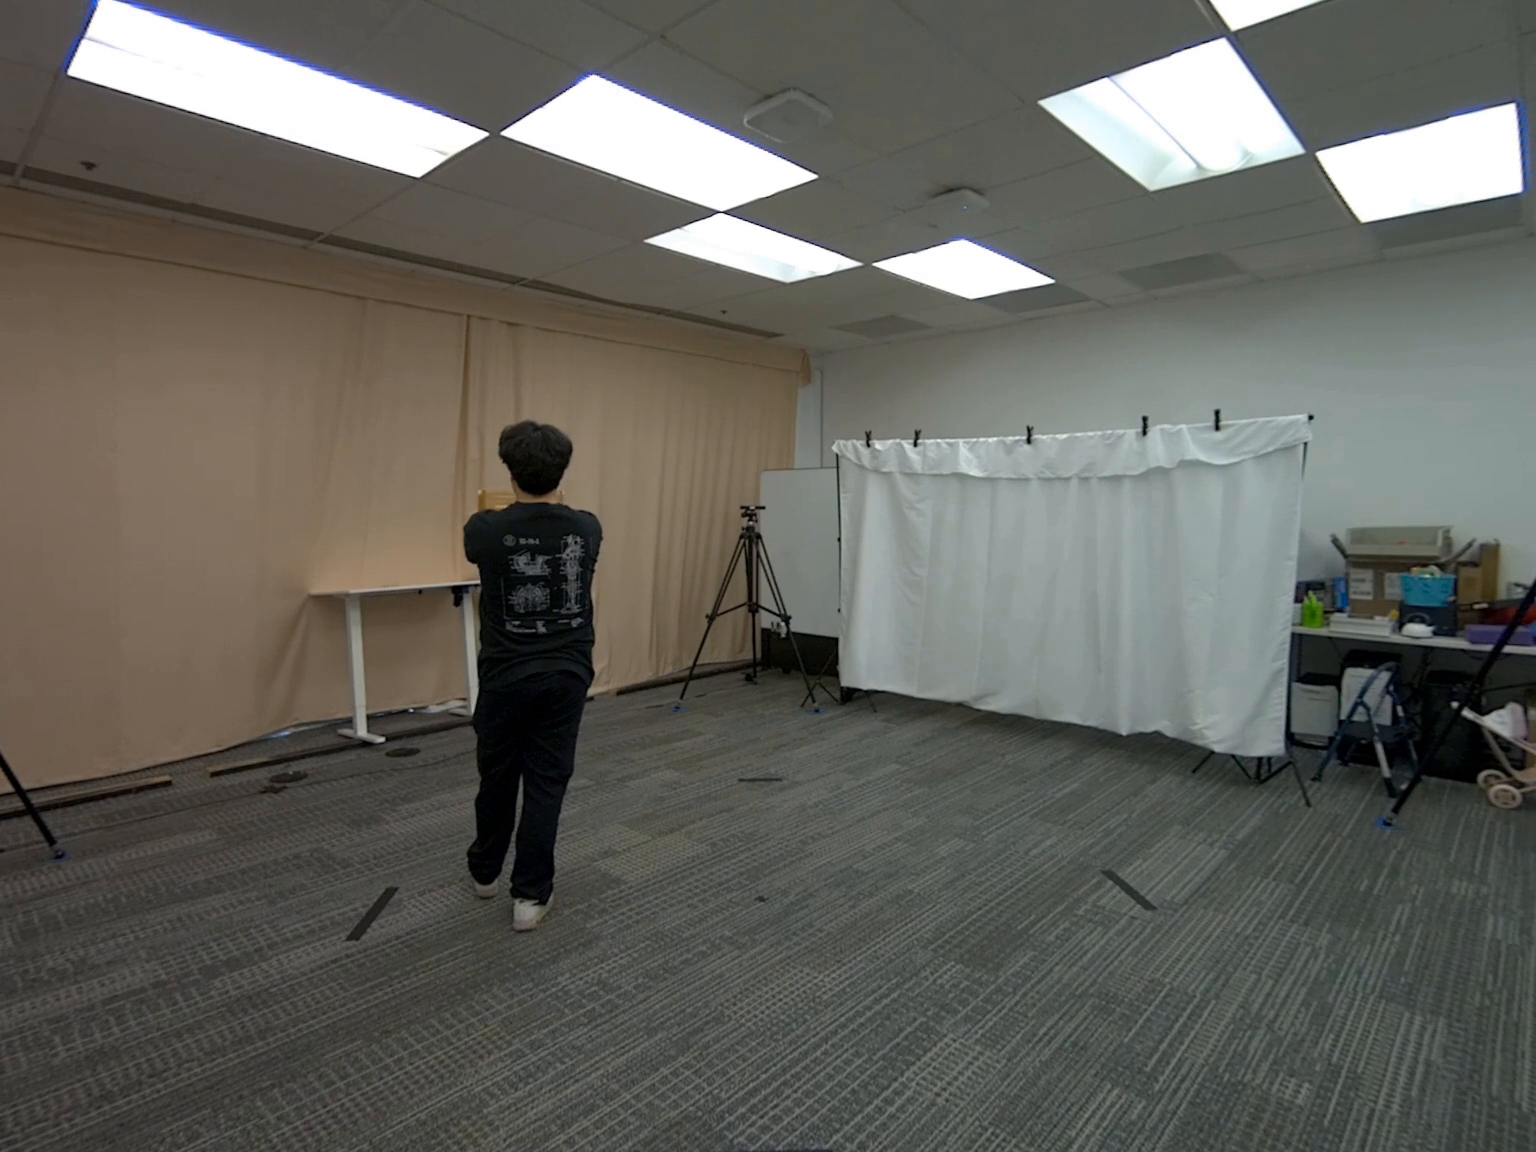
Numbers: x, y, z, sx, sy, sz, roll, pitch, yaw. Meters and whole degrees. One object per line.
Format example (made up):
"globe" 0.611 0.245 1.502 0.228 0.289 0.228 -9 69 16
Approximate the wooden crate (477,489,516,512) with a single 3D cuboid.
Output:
"wooden crate" -1.012 -0.221 3.366 0.318 0.272 0.309 -1 5 -21
